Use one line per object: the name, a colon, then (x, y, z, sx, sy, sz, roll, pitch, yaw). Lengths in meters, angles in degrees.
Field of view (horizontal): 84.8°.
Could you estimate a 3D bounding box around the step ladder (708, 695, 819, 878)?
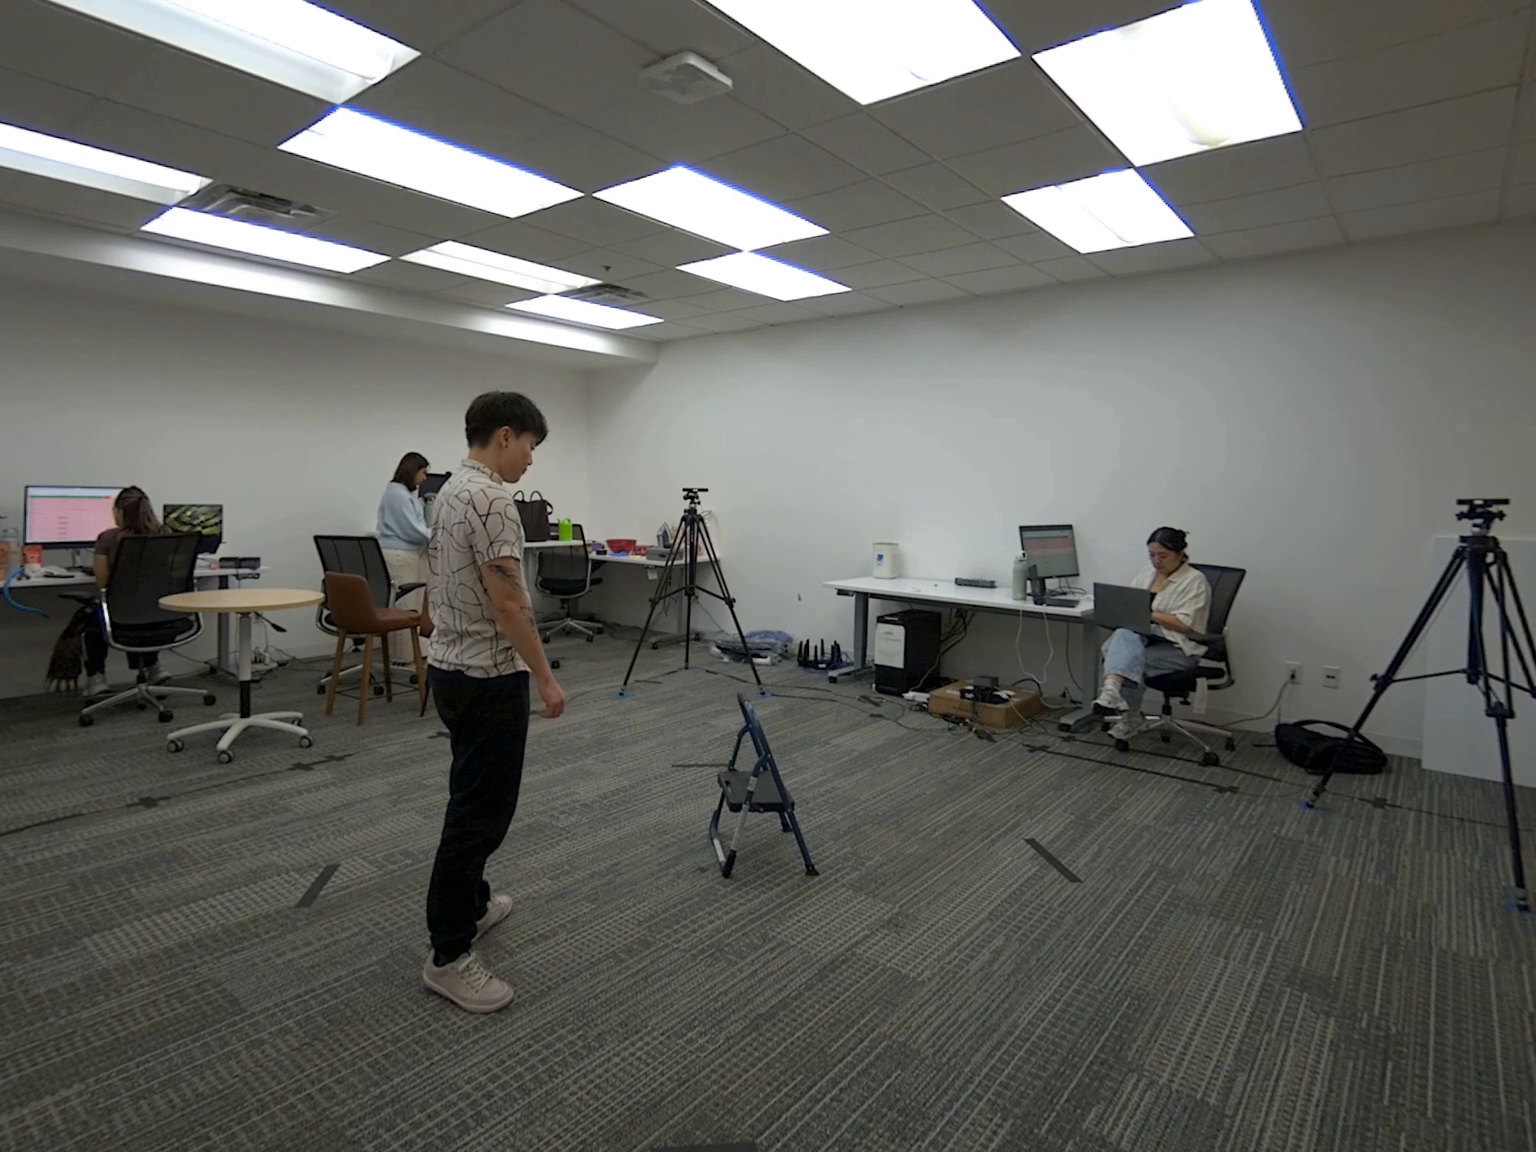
step ladder: (-0.035, 0.759, 3.250, 0.345, 0.605, 0.437, 1, 3, -11)
